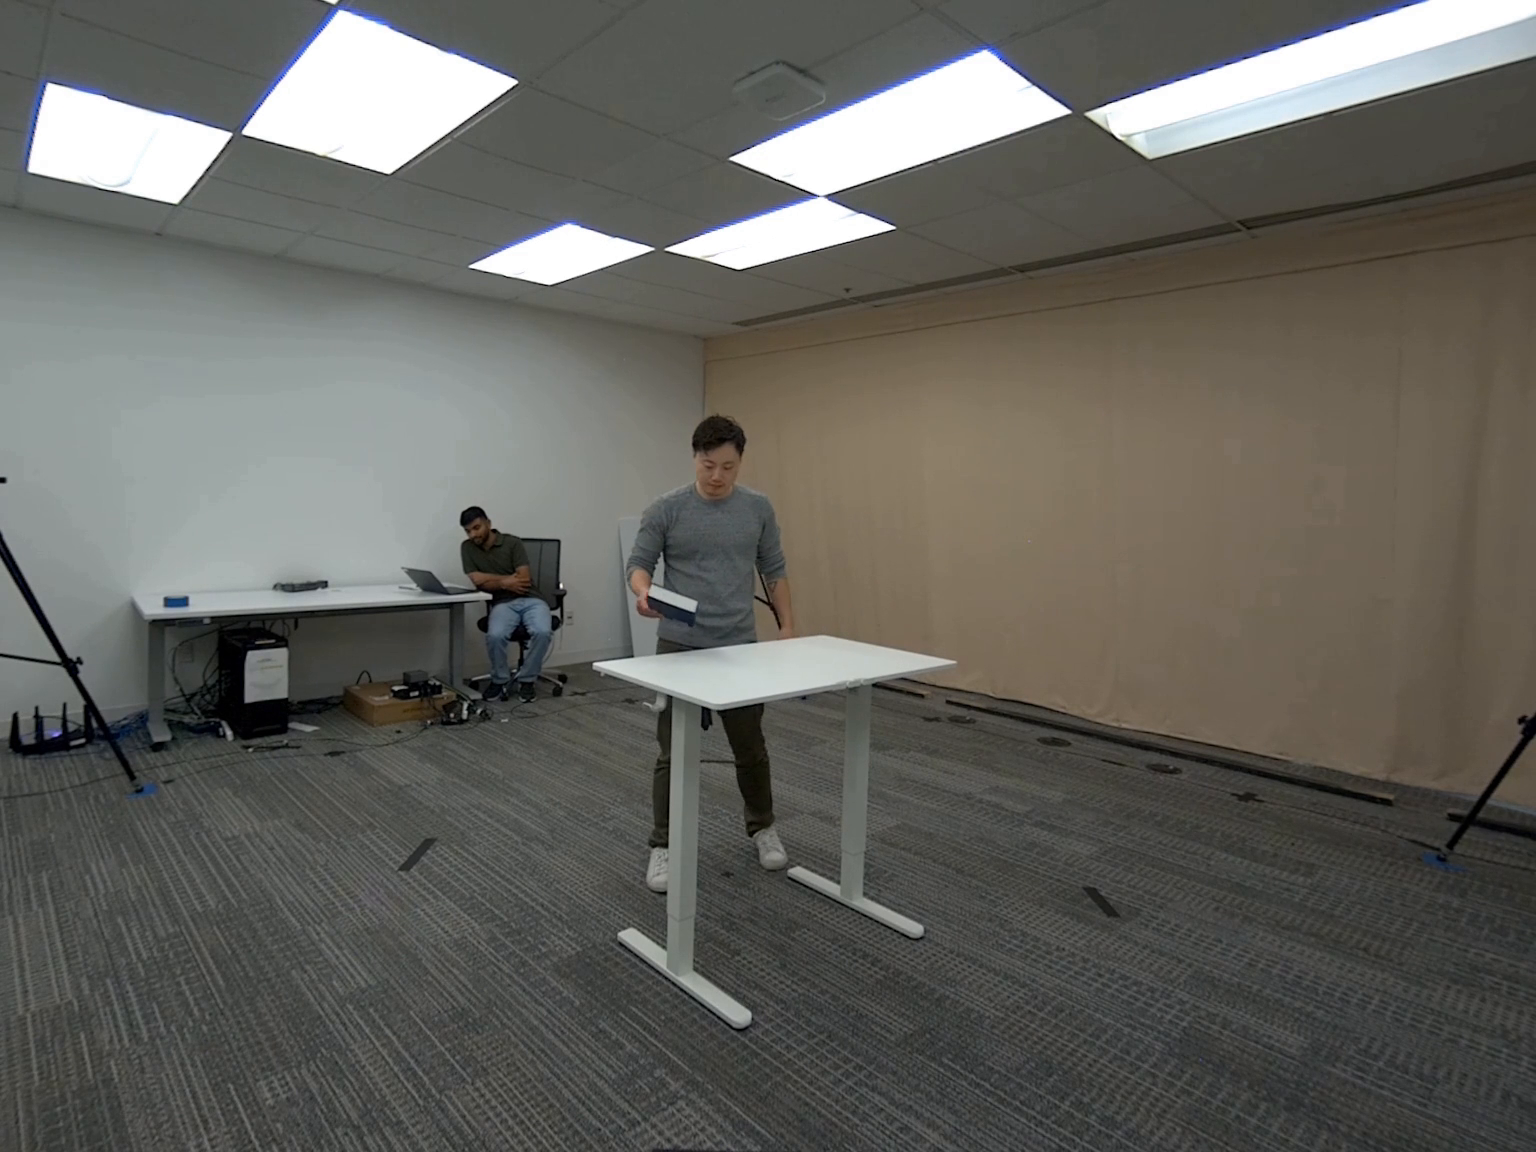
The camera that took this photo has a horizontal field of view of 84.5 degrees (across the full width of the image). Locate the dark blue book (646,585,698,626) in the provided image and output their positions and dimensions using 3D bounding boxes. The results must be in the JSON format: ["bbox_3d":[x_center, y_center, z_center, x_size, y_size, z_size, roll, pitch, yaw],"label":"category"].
[{"bbox_3d":[-0.319,0.098,2.717,0.164,0.045,0.243,22,-14,1],"label":"dark blue book"}]
